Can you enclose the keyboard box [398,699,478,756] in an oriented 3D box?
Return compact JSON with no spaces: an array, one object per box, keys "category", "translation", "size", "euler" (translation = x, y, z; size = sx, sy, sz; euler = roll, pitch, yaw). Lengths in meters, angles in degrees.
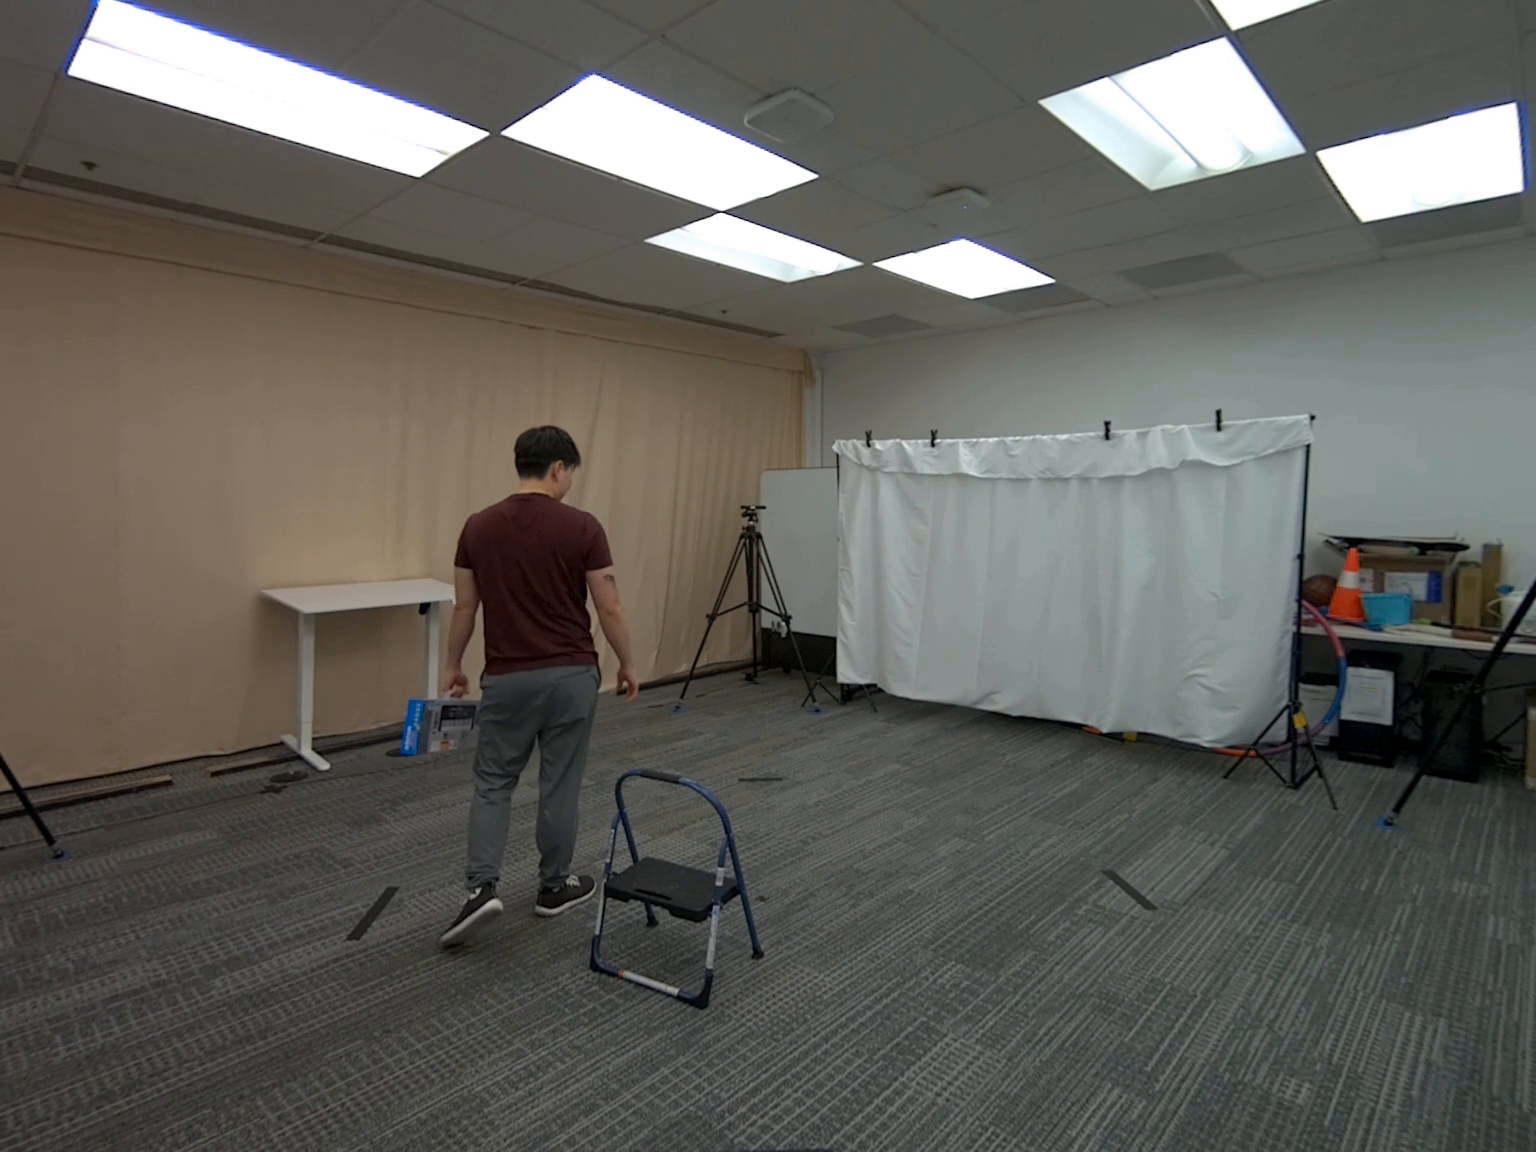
[{"category":"keyboard box","translation":[-1.083,0.513,2.876],"size":[0.060,0.176,0.429],"euler":[4,-6,10]}]
